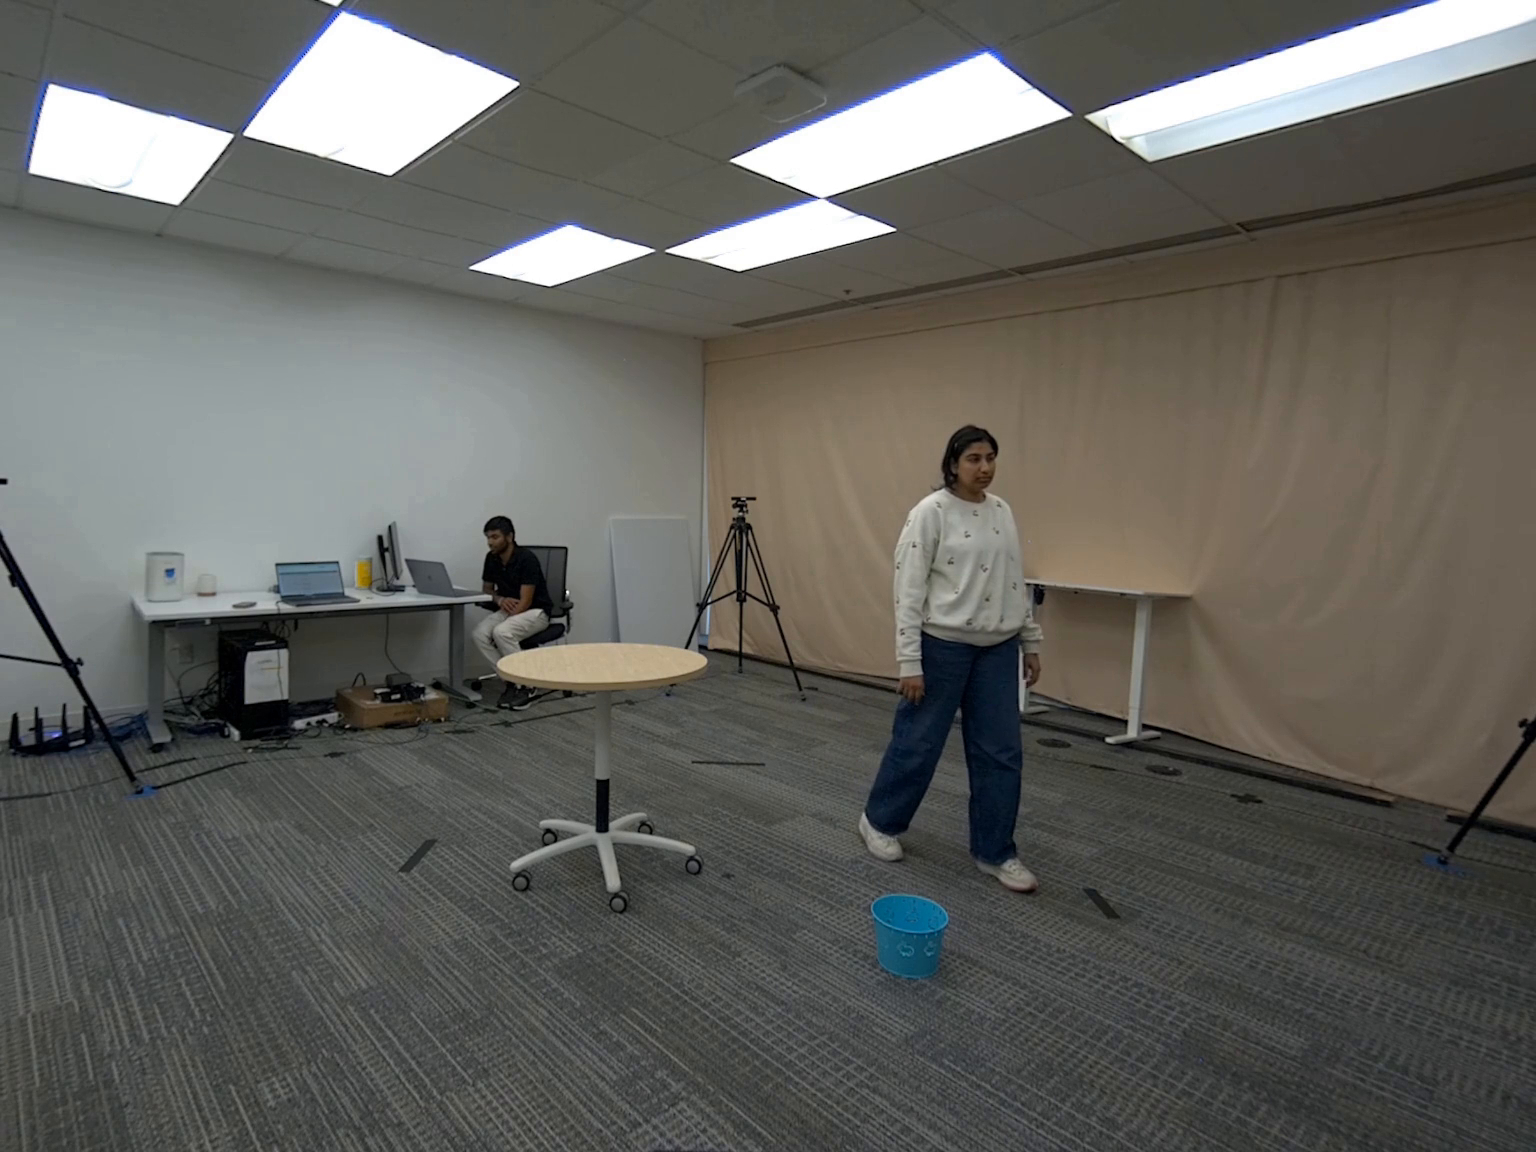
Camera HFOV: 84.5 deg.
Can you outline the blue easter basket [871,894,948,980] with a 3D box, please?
[{"bbox_3d":[0.426,1.089,2.562,0.243,0.155,0.245,1,6,-1],"label":"blue easter basket"}]
